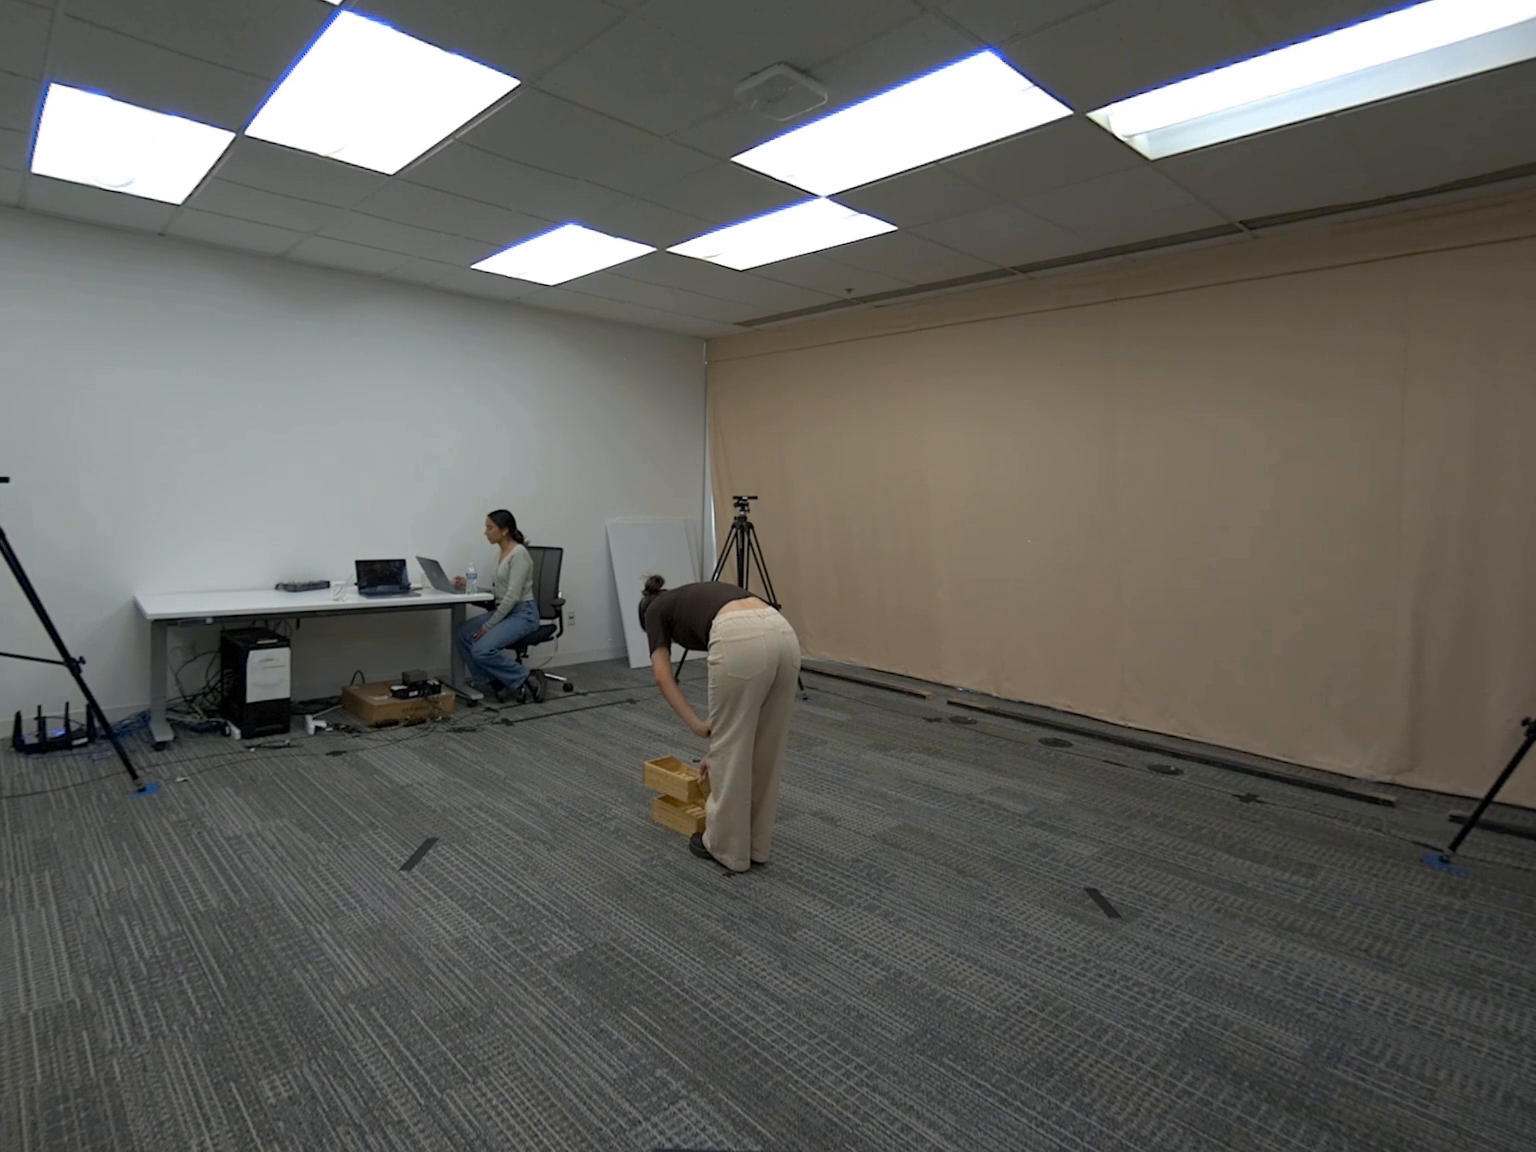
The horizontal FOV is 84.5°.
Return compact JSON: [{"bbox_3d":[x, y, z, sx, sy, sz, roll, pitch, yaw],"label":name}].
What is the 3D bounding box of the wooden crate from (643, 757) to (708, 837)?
[{"bbox_3d":[-0.329,0.921,3.575,0.295,0.272,0.333,-4,7,-44],"label":"wooden crate"}]
